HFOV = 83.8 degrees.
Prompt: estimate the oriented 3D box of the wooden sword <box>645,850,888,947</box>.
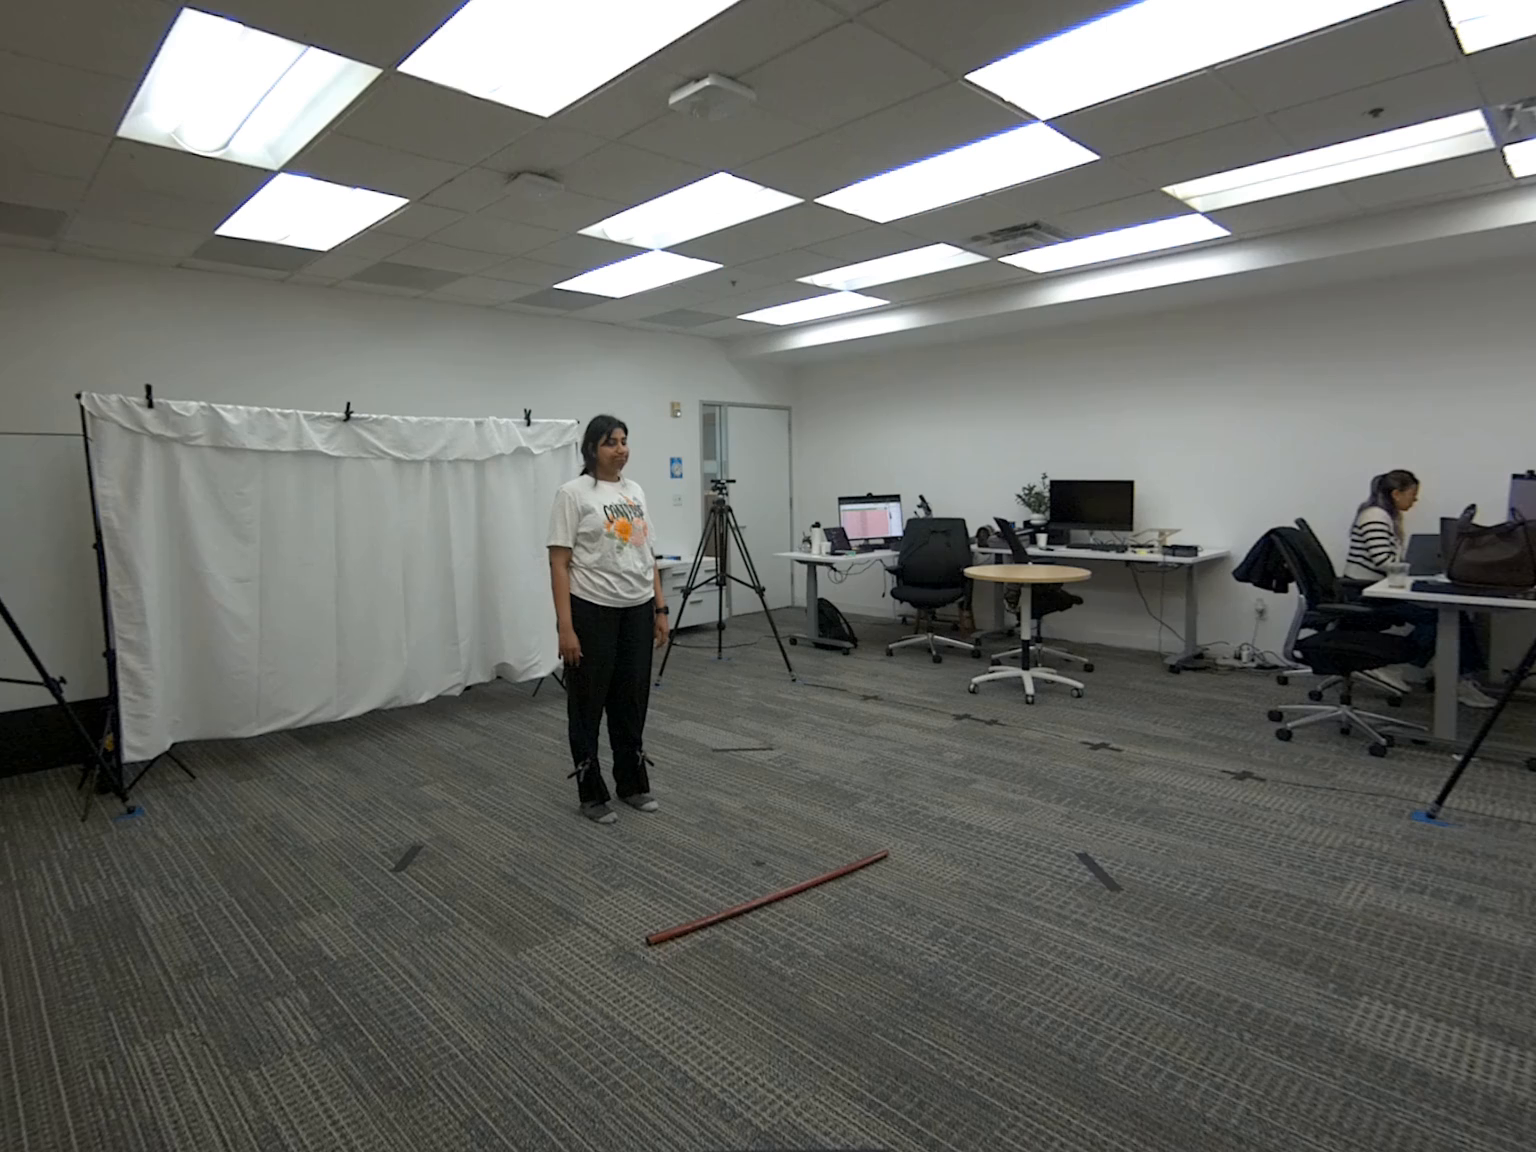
[{"bbox_3d":[0.057,1.058,2.869,0.999,0.025,0.051,-6,-27,-36],"label":"wooden sword"}]
